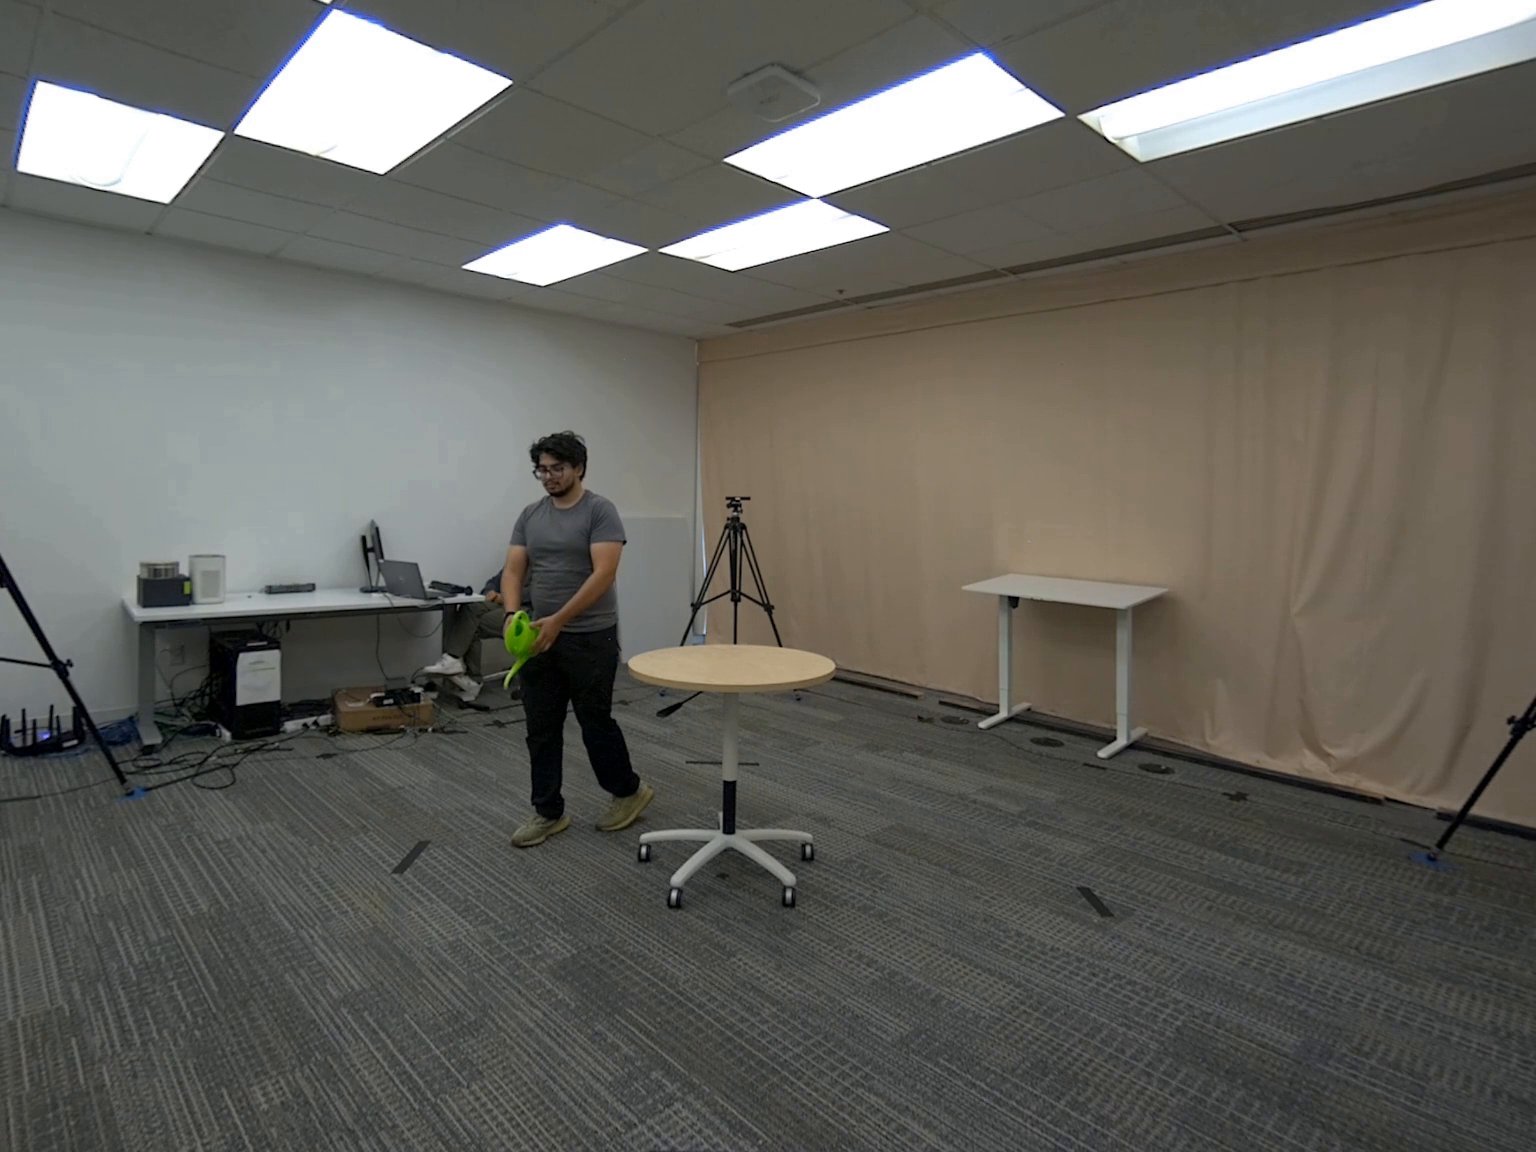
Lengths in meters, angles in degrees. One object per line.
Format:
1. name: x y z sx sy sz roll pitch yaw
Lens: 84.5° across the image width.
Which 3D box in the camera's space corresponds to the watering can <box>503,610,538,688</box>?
1. watering can: -0.934 0.271 3.090 0.099 0.279 0.174 15 -9 9
